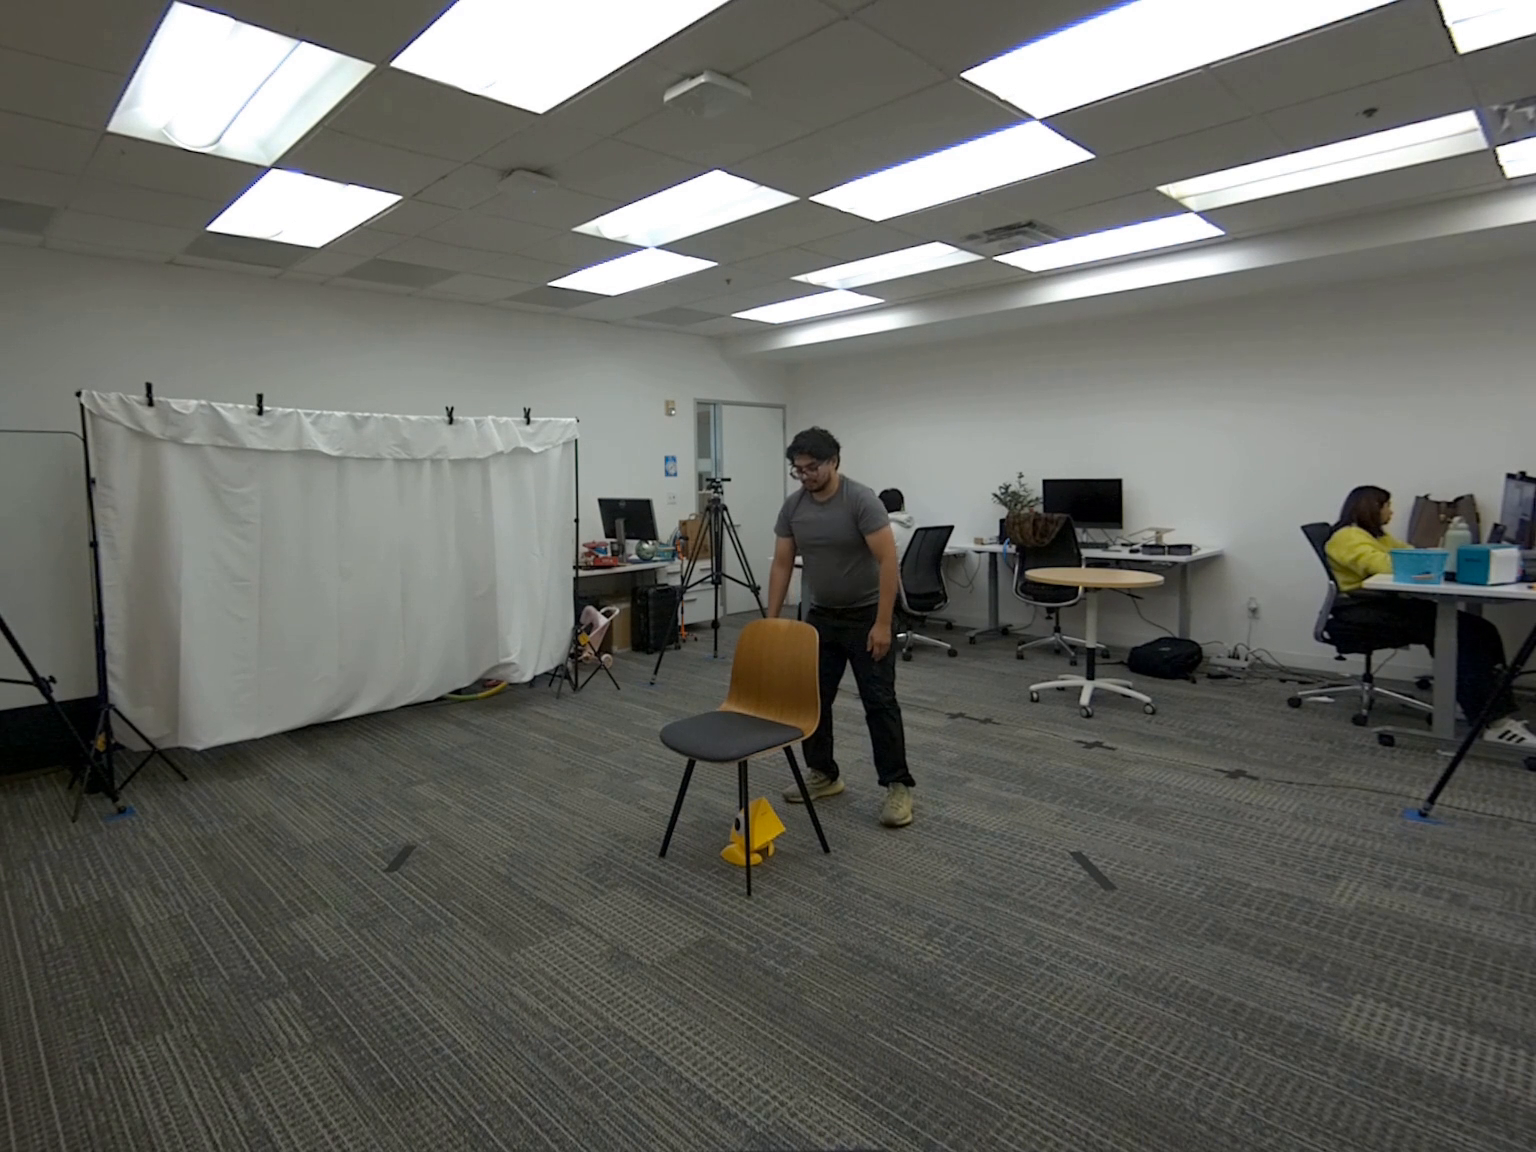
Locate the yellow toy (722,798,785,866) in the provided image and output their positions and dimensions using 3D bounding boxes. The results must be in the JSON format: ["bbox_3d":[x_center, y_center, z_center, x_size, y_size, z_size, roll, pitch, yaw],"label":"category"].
[{"bbox_3d":[-0.060,0.919,3.175,0.199,0.230,0.200,3,6,35],"label":"yellow toy"}]
